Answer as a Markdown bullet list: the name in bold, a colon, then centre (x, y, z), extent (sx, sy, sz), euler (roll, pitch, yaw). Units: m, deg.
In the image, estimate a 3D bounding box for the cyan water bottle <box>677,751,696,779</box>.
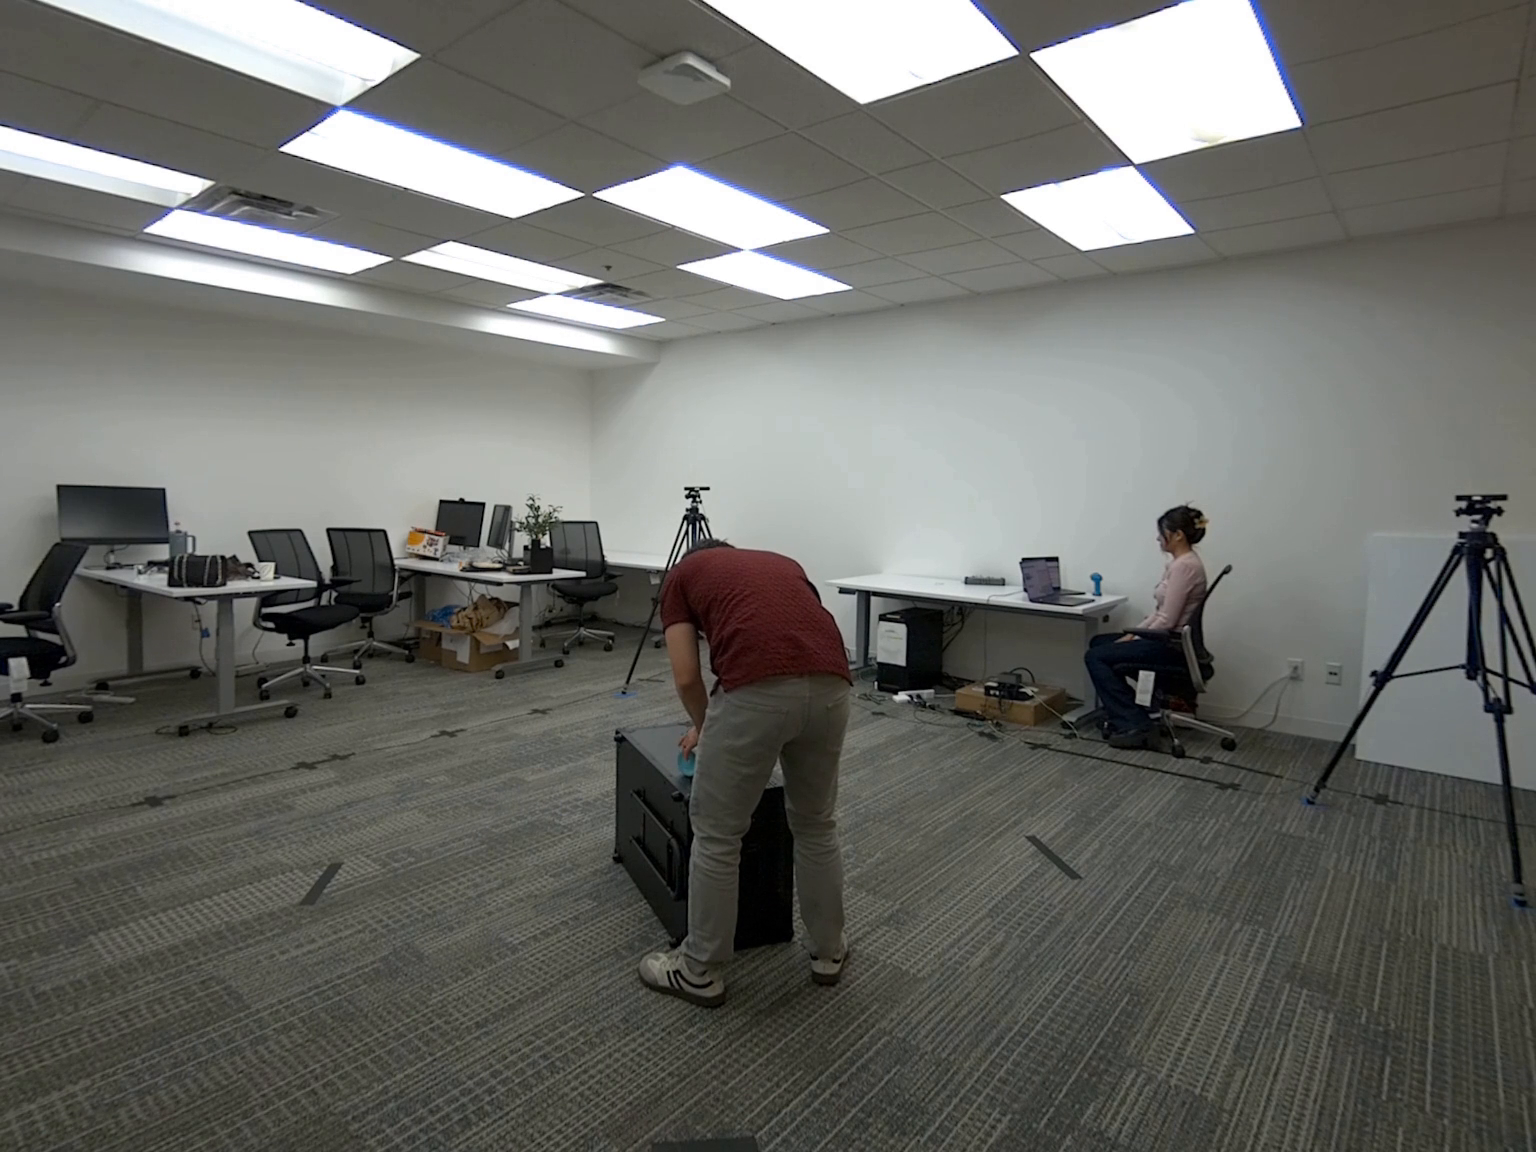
- **cyan water bottle**: centre (-0.186, 0.566, 2.778), extent (0.095, 0.092, 0.276), euler (3, 6, 31)
